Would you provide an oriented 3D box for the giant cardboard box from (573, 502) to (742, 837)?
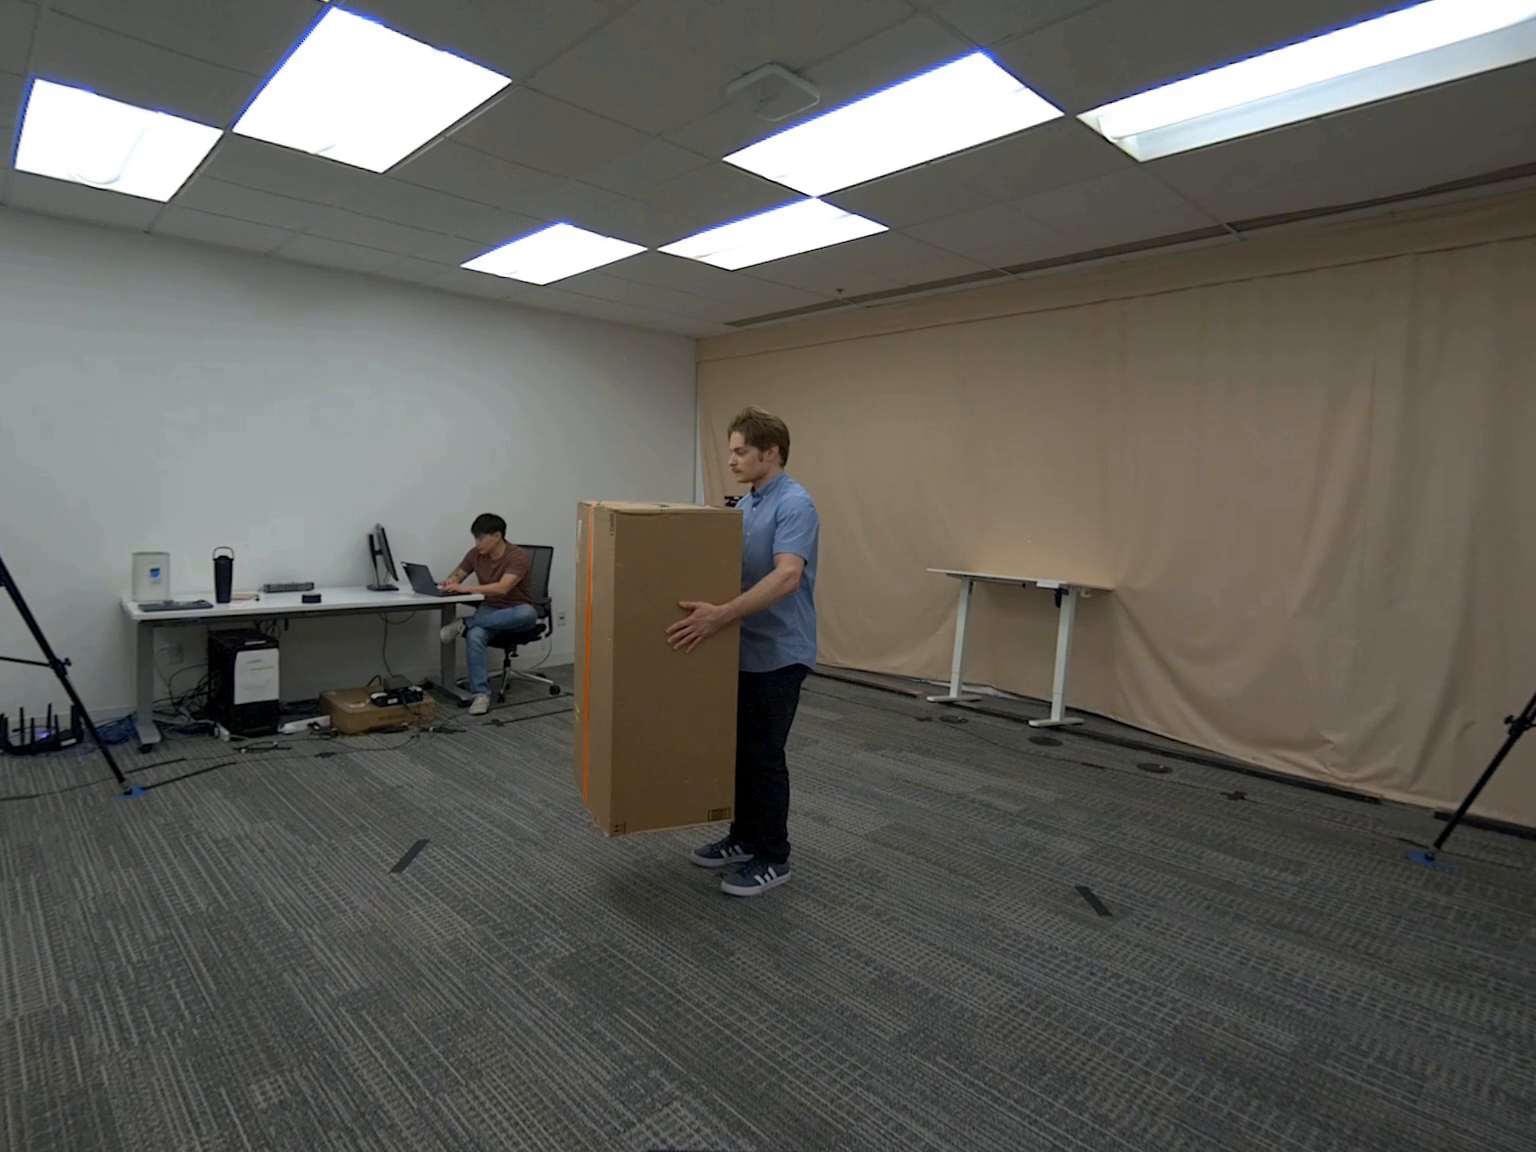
[{"bbox_3d":[-0.411,0.270,2.881,0.419,1.023,0.589,0,5,-23],"label":"giant cardboard box"}]
